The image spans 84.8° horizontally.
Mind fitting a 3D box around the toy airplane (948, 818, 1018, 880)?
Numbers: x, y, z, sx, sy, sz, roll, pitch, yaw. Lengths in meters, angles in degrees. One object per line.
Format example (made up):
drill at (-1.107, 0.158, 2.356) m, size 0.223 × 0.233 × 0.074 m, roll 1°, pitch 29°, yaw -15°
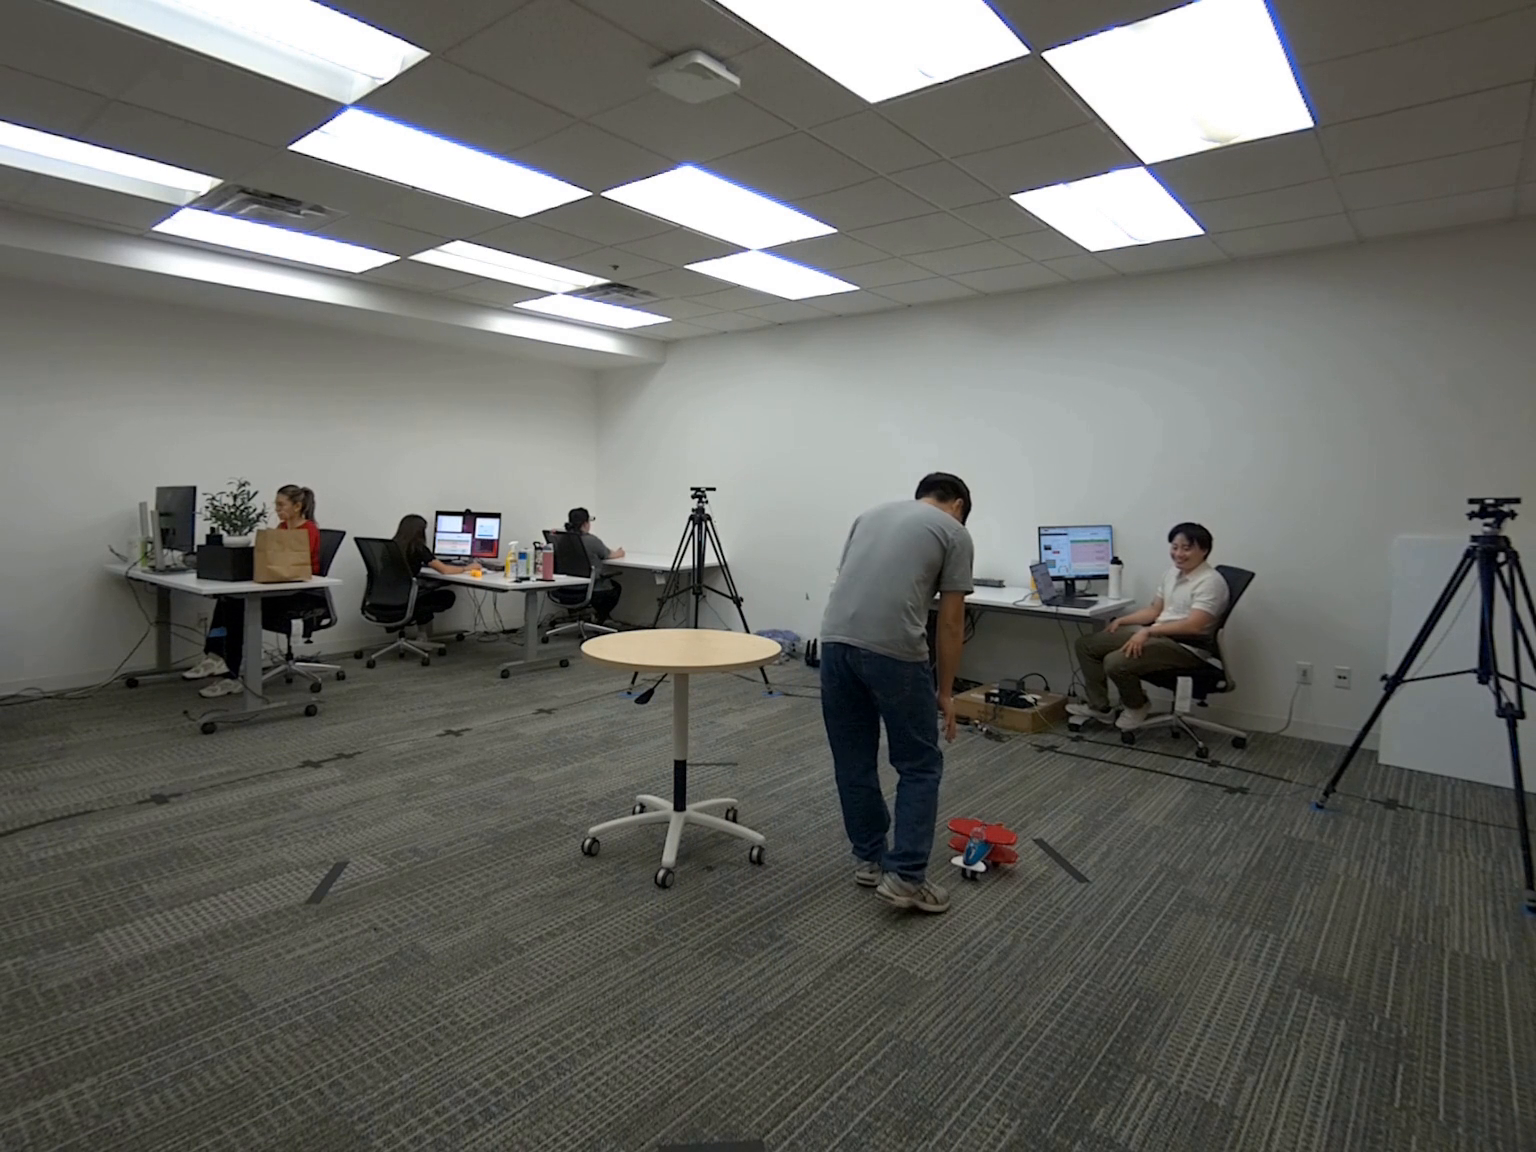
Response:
toy airplane at (0.789, 1.011, 3.146) m, size 0.253 × 0.156 × 0.258 m, roll 2°, pitch 4°, yaw 5°
